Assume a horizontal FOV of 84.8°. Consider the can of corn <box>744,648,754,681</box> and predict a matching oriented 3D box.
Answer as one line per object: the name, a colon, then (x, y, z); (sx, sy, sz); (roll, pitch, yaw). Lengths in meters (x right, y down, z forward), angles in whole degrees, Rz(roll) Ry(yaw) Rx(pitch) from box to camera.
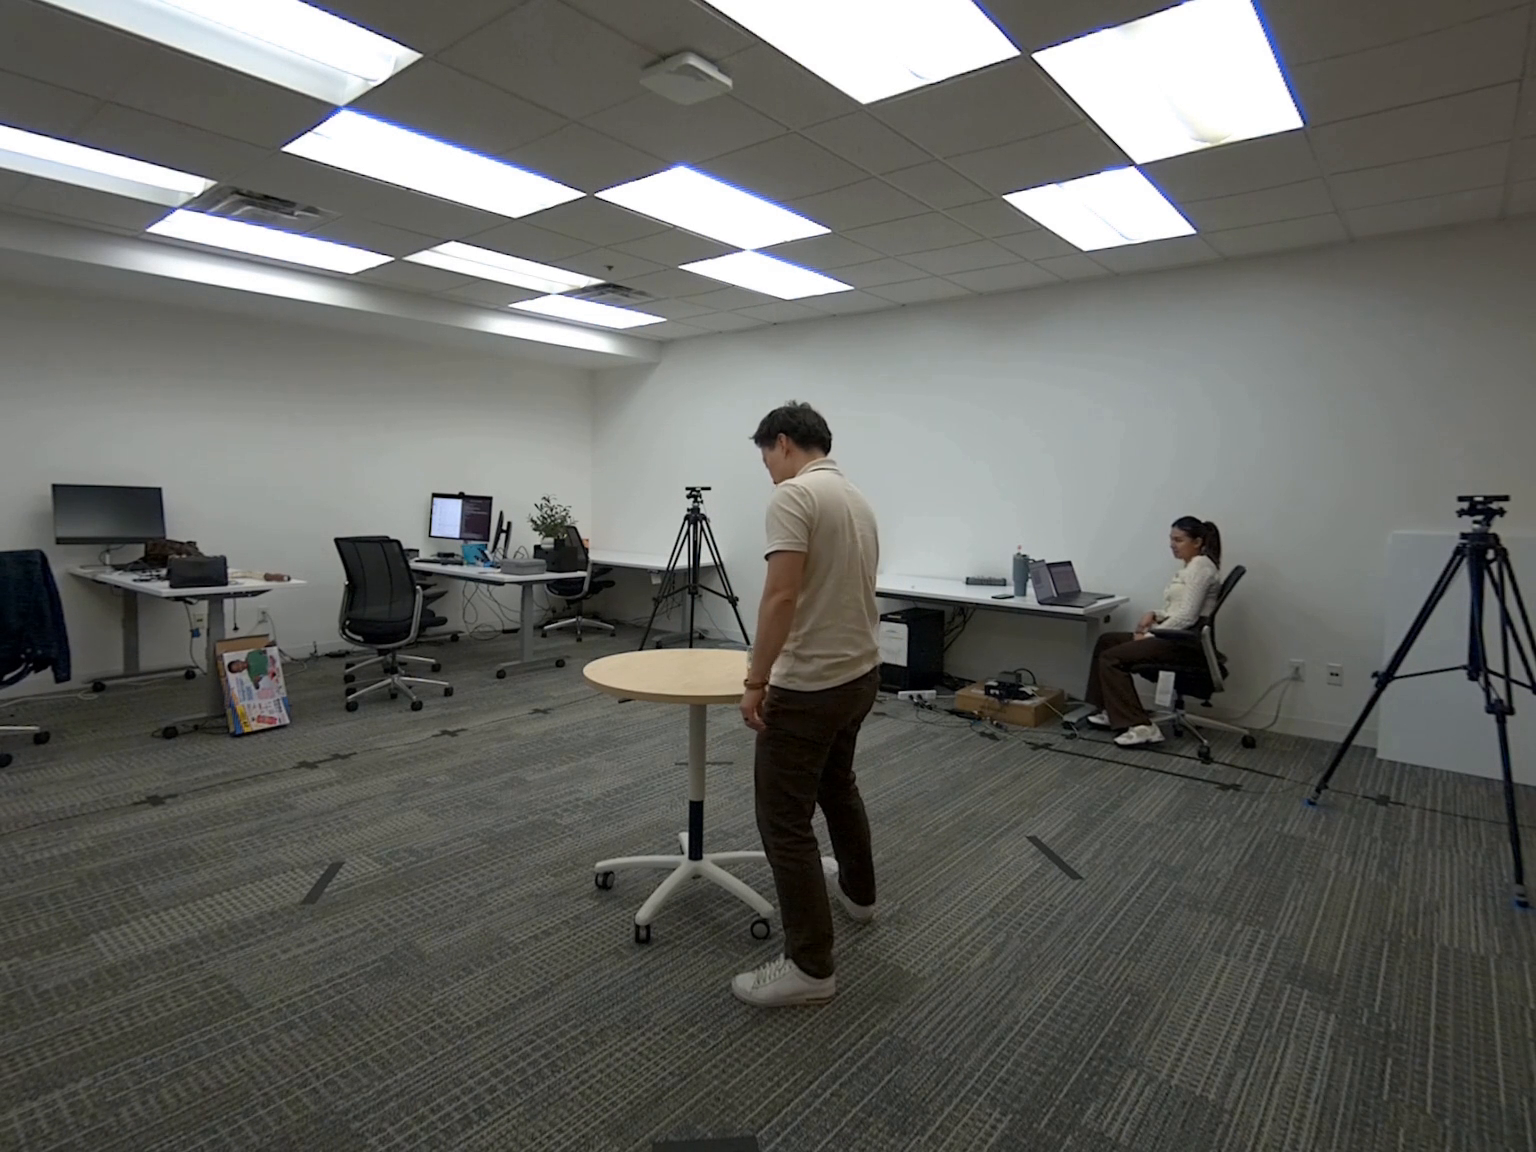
can of corn: (-0.017, 0.271, 2.657); (0.074, 0.111, 0.074); (4, 2, -2)
